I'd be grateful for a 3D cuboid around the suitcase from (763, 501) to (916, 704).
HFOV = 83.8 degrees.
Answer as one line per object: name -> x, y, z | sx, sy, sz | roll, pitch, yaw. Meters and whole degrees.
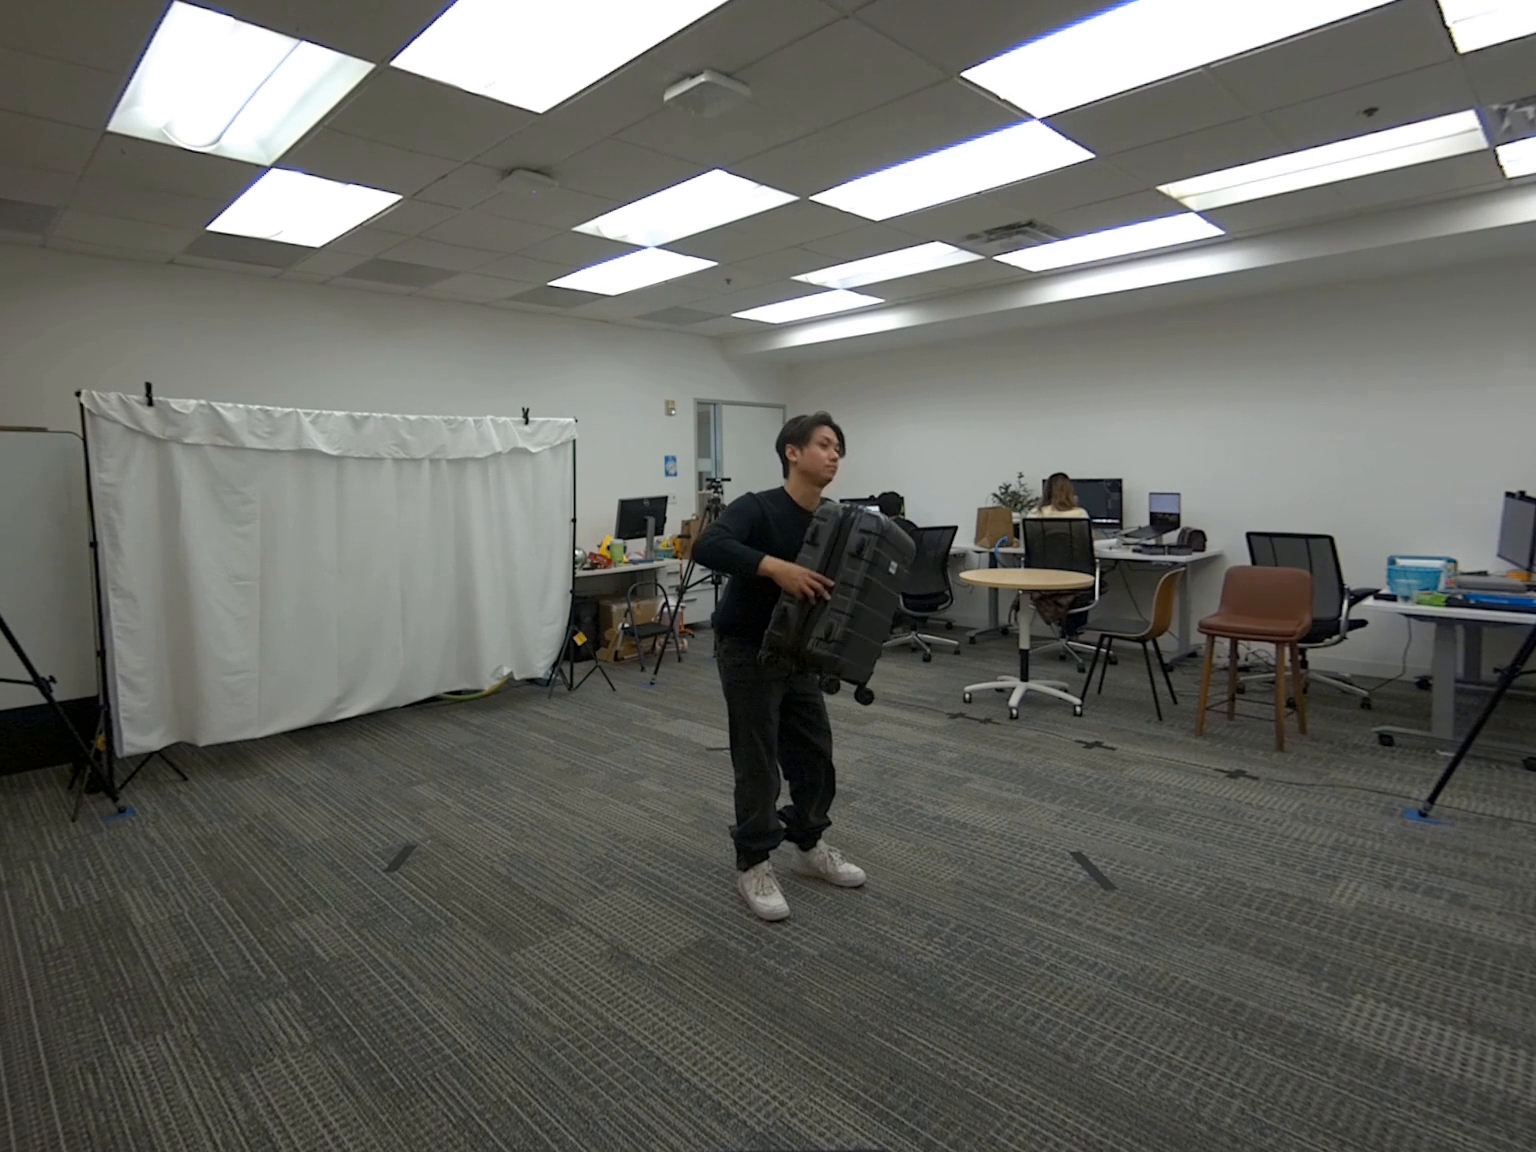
suitcase -> 0.230, 0.069, 2.577 | 0.256, 0.551, 0.362 | 15, -7, 32
